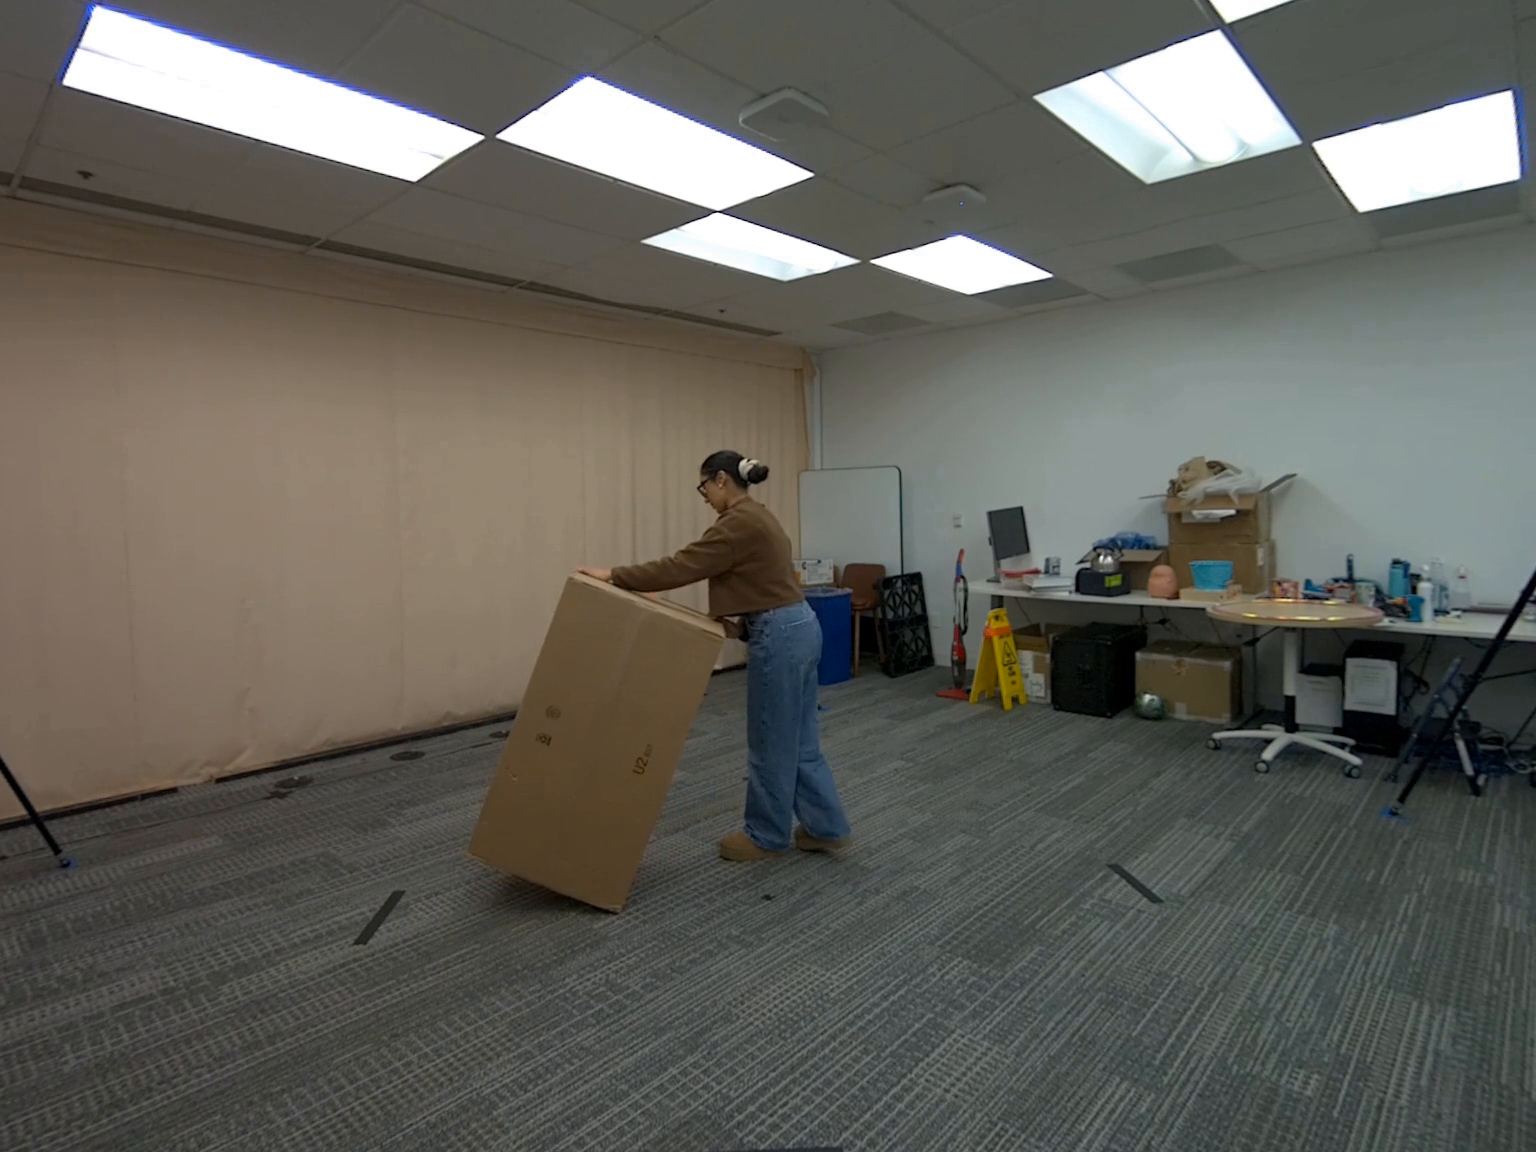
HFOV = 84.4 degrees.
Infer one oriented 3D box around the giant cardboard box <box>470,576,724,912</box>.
[{"bbox_3d":[-0.606,0.572,3.071,0.581,1.026,0.449,21,2,-4],"label":"giant cardboard box"}]
